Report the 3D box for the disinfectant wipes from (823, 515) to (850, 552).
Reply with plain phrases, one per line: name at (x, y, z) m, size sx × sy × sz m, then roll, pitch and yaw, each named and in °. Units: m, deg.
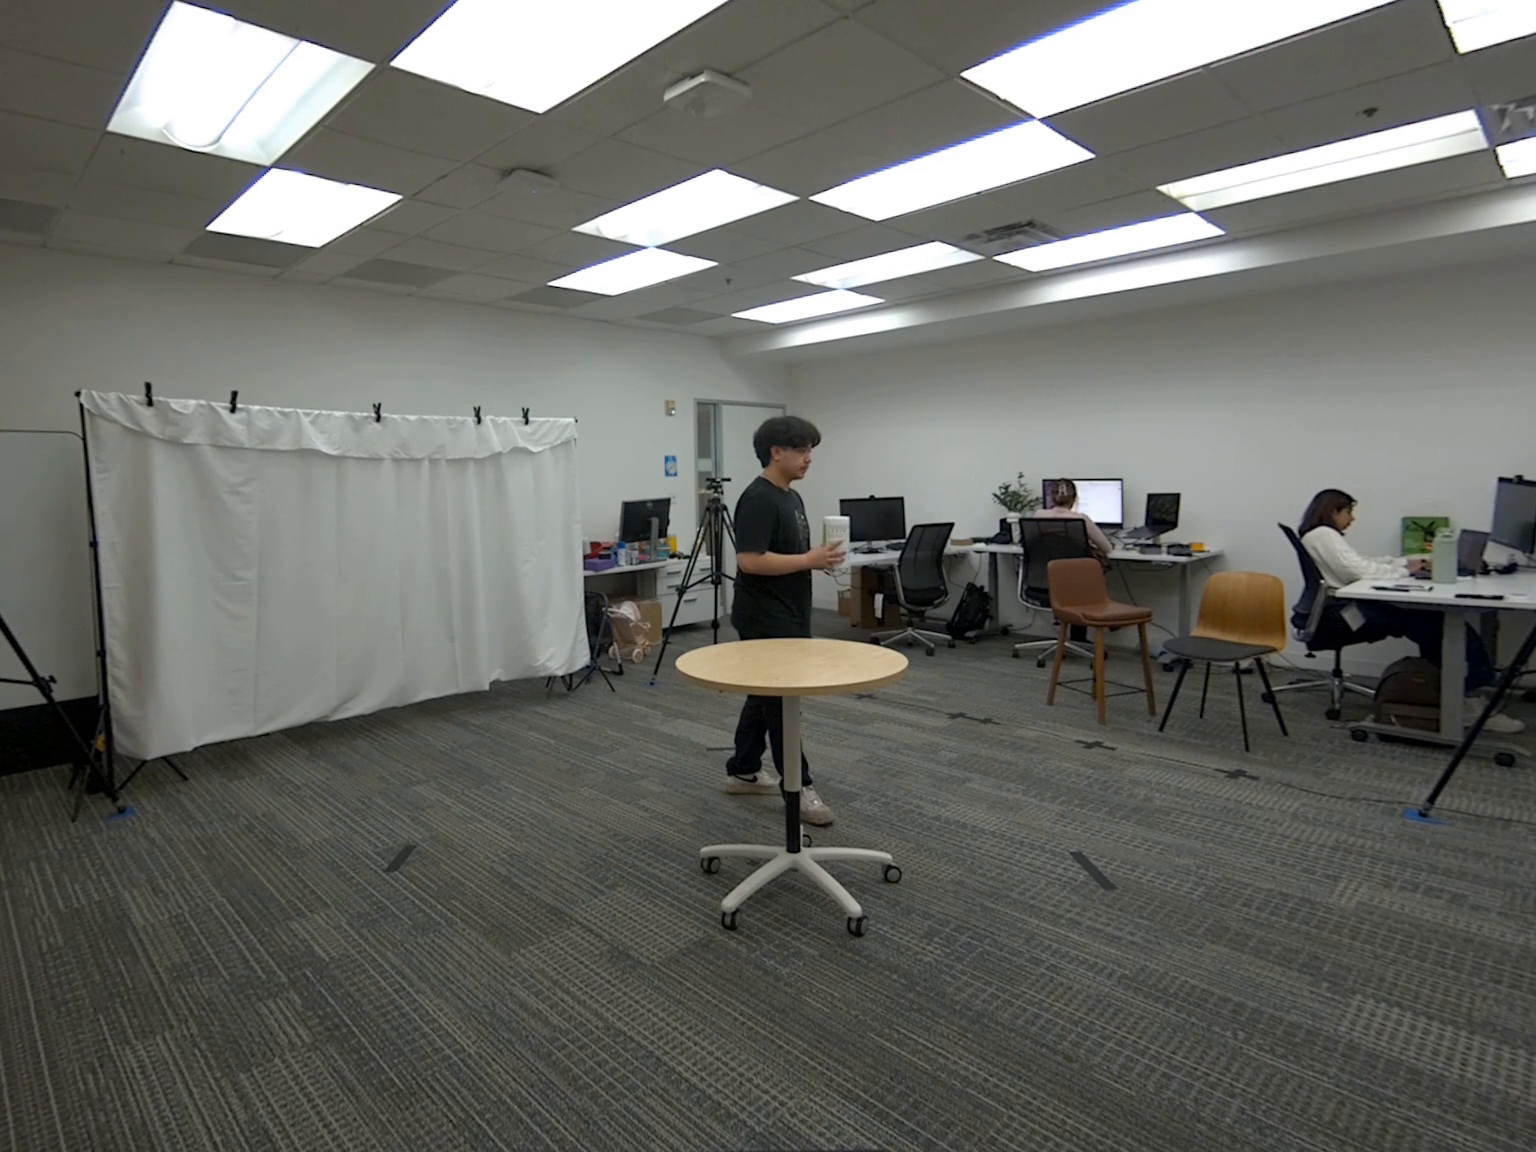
disinfectant wipes at (0.276, -0.139, 3.557) m, size 0.118 × 0.216 × 0.118 m, roll 1°, pitch 6°, yaw -2°
